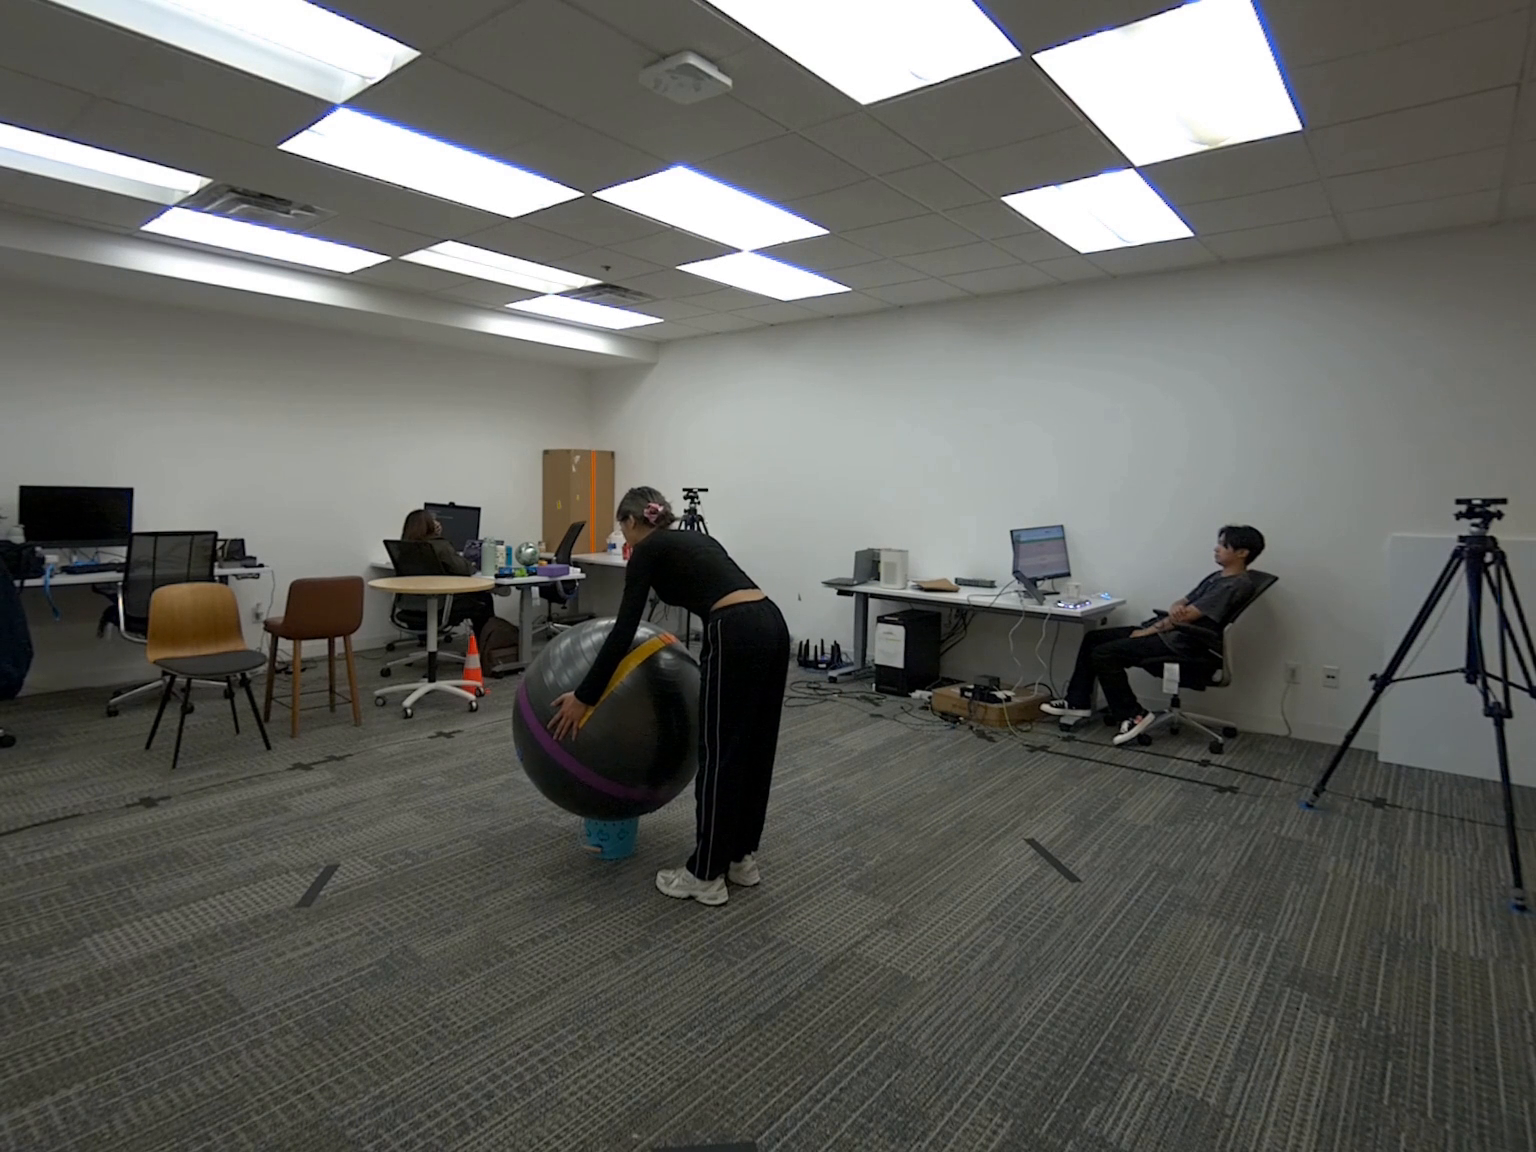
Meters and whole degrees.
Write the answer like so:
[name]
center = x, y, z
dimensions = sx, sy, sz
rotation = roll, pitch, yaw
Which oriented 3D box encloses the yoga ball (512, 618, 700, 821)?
[yoga ball]
center = -0.605, 0.536, 3.246
dimensions = 0.757, 0.755, 0.762
rotation = 1, 4, -2
